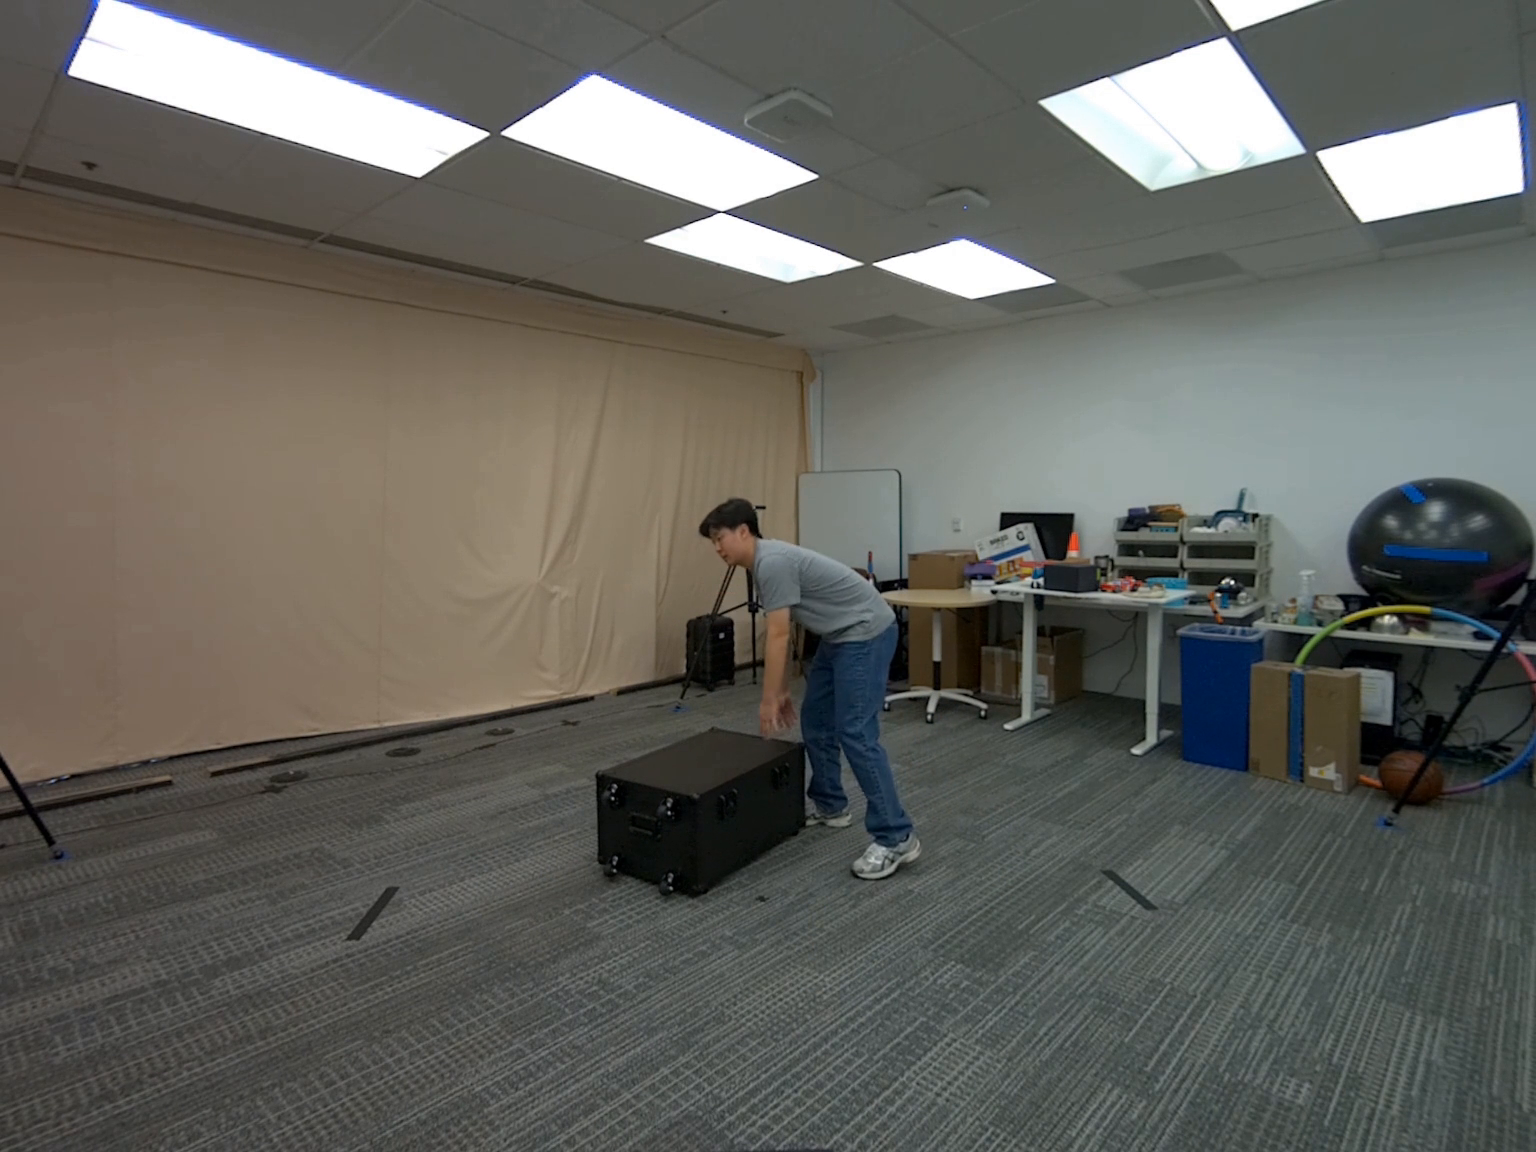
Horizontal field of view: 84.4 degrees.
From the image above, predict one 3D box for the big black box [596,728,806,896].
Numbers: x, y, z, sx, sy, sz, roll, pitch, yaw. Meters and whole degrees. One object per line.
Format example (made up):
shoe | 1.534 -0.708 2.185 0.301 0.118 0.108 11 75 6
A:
big black box | -0.268 0.924 3.383 0.537 0.395 0.837 3 5 33
